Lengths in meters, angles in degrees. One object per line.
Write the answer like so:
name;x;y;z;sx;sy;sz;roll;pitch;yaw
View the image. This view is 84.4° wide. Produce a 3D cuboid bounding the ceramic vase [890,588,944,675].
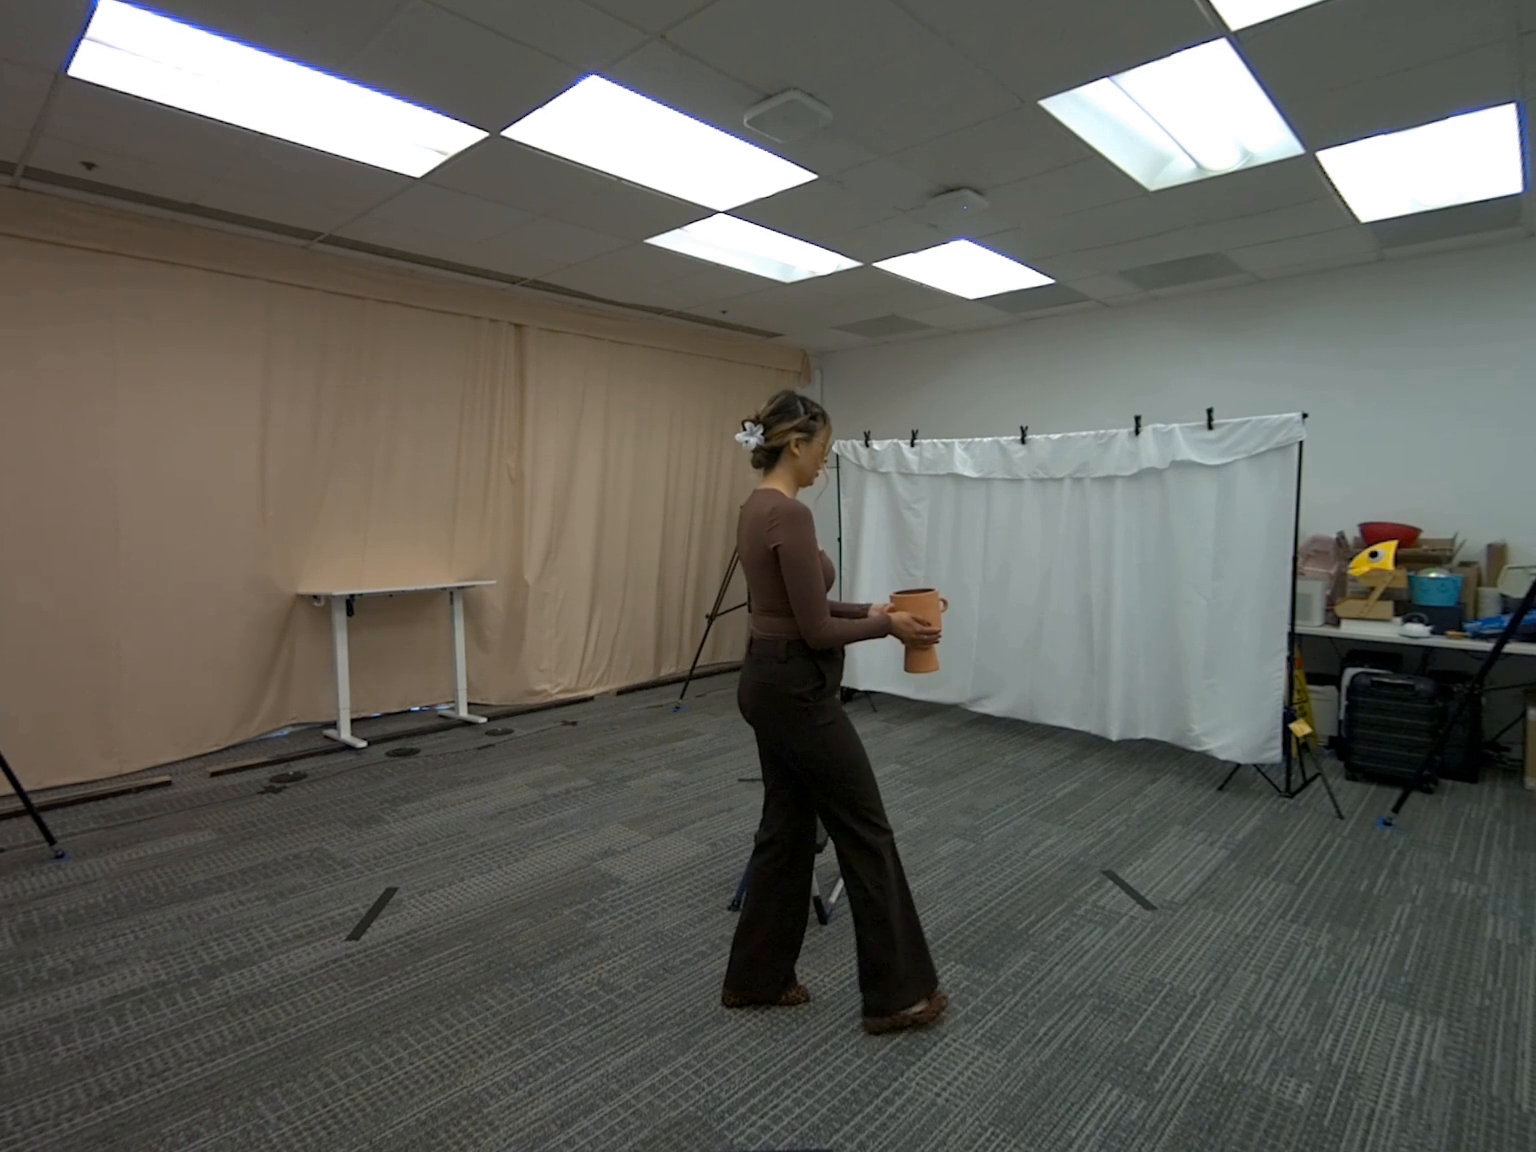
ceramic vase;0.429;0.154;2.325;0.162;0.219;0.132;-3;5;22
